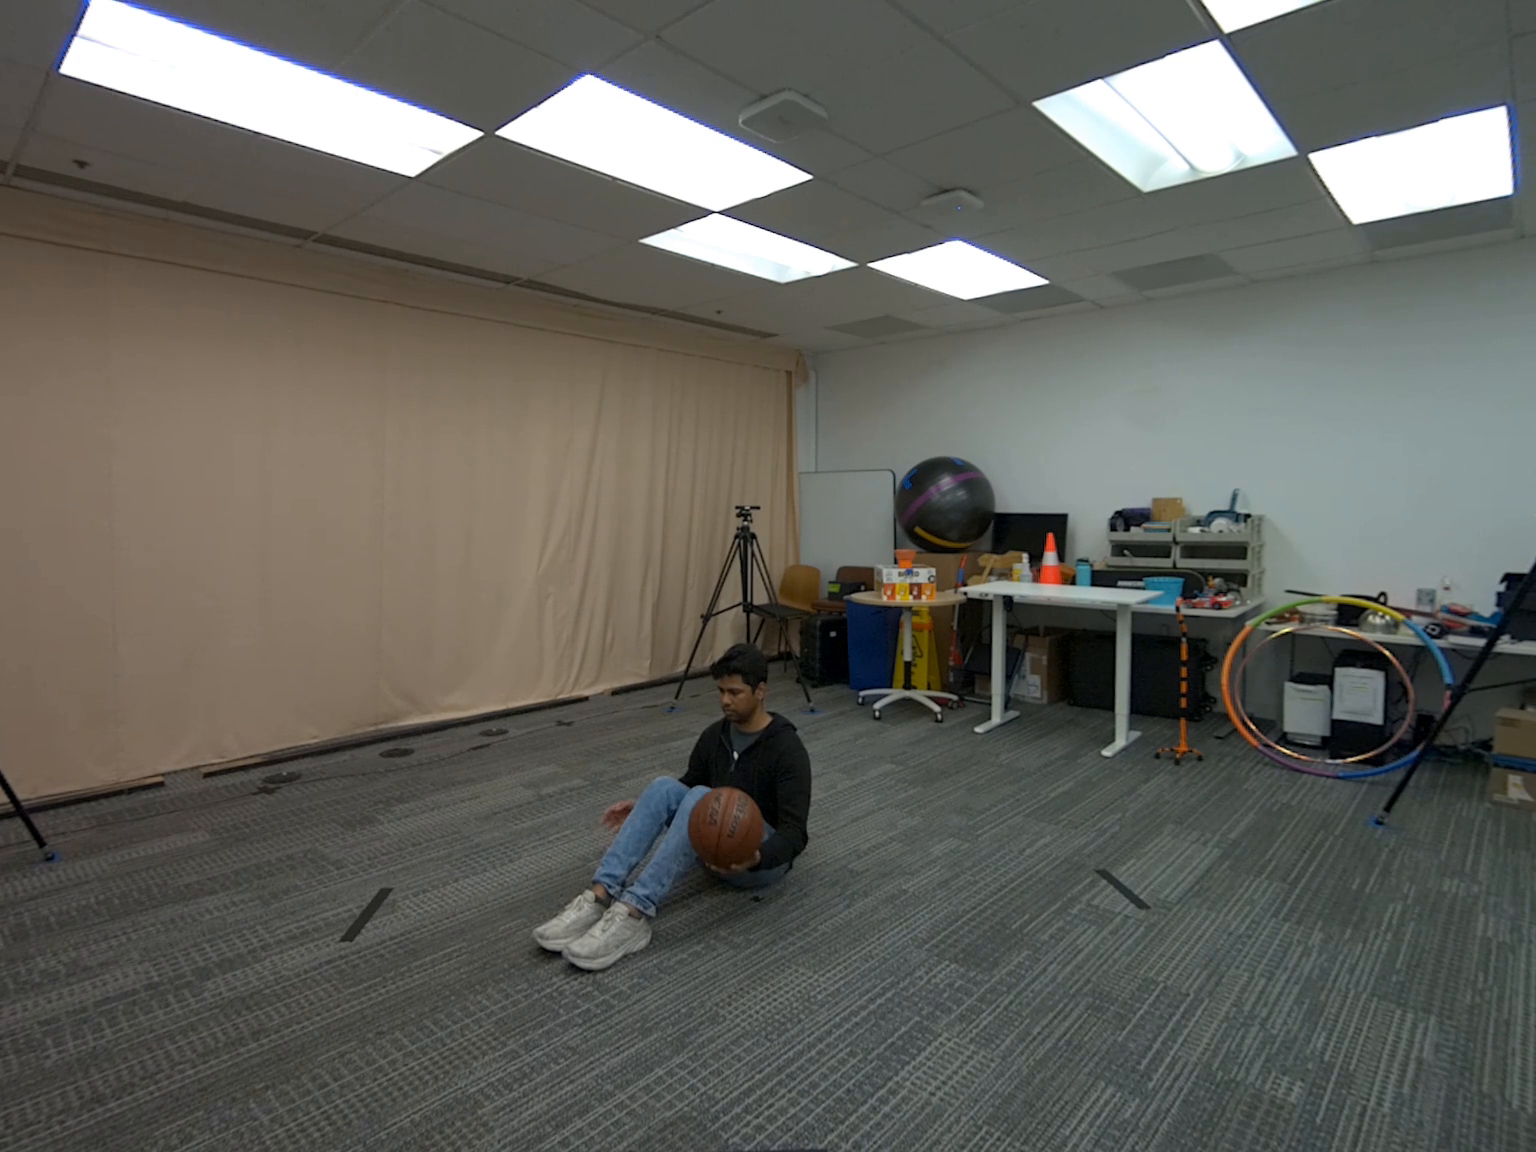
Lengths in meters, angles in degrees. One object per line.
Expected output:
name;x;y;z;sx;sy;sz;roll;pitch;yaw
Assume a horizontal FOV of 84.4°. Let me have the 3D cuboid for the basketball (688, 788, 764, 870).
basketball;-0.145;0.777;2.681;0.236;0.235;0.237;0;4;-2
